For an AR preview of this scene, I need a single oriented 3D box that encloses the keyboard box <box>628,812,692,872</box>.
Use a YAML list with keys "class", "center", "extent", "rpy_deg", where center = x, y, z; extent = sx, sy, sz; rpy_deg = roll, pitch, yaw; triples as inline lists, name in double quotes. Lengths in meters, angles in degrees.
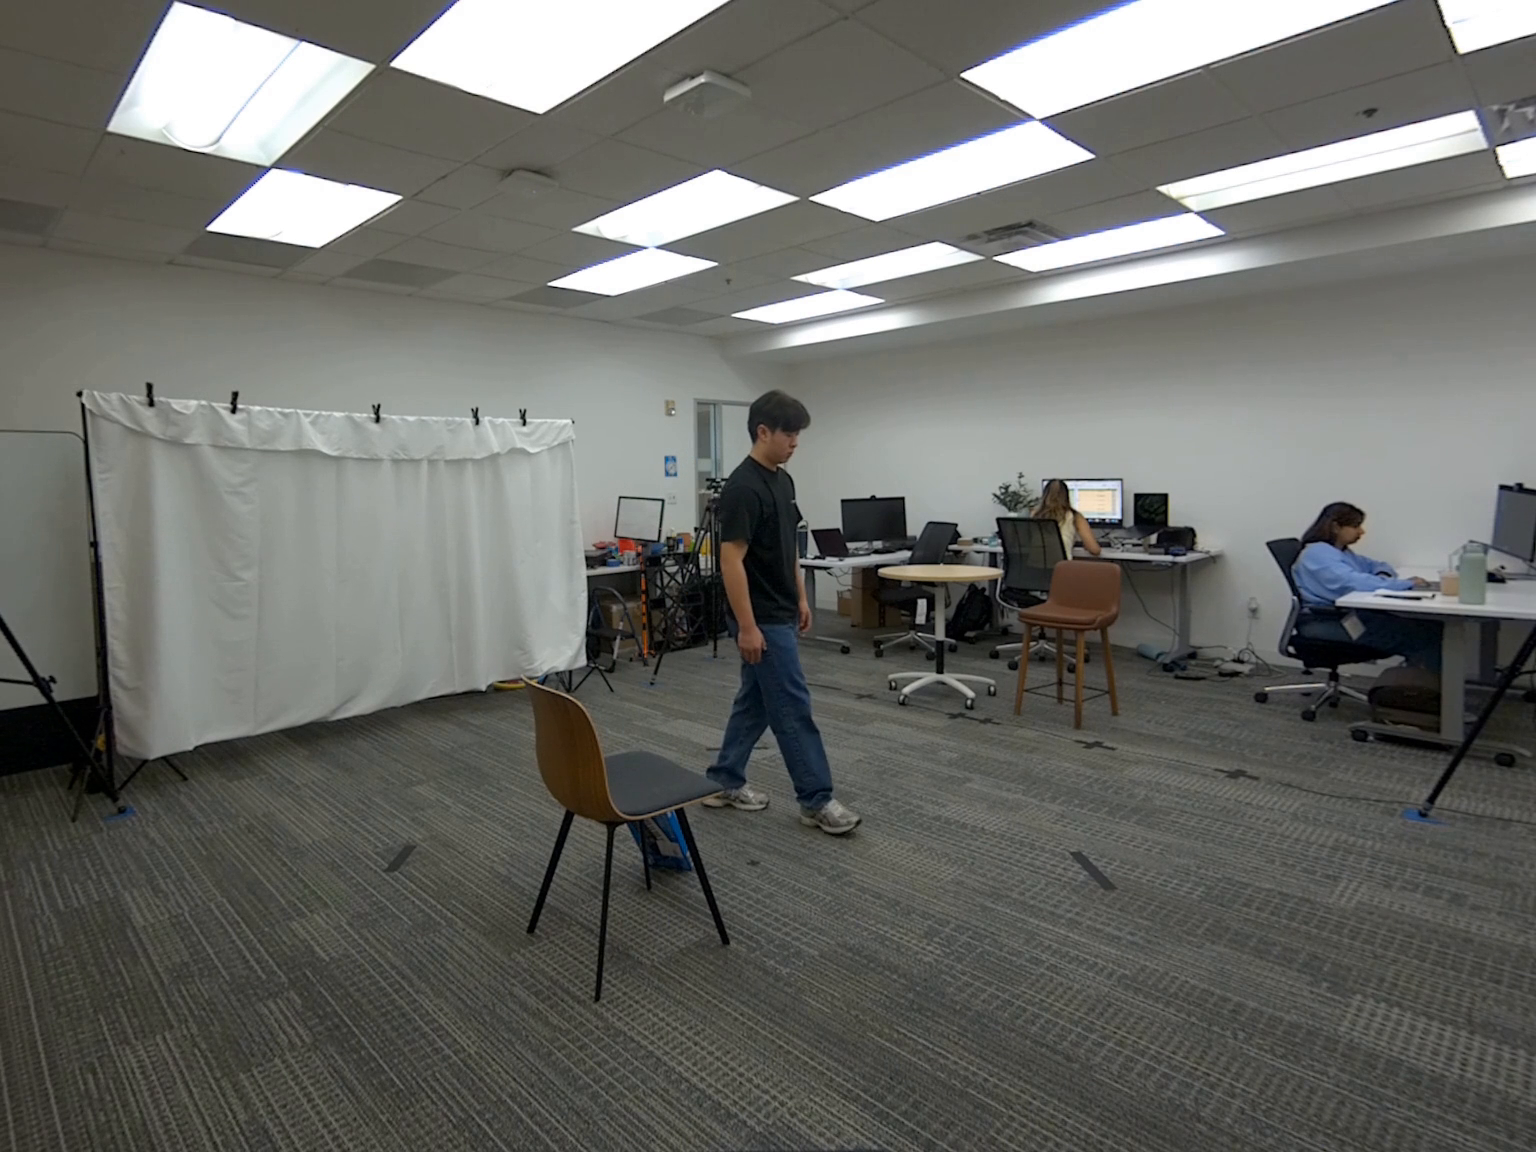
- class: "keyboard box"
  center: [-0.384, 0.888, 2.958]
  extent: [0.179, 0.422, 0.060]
  rpy_deg: [1, 44, 15]
